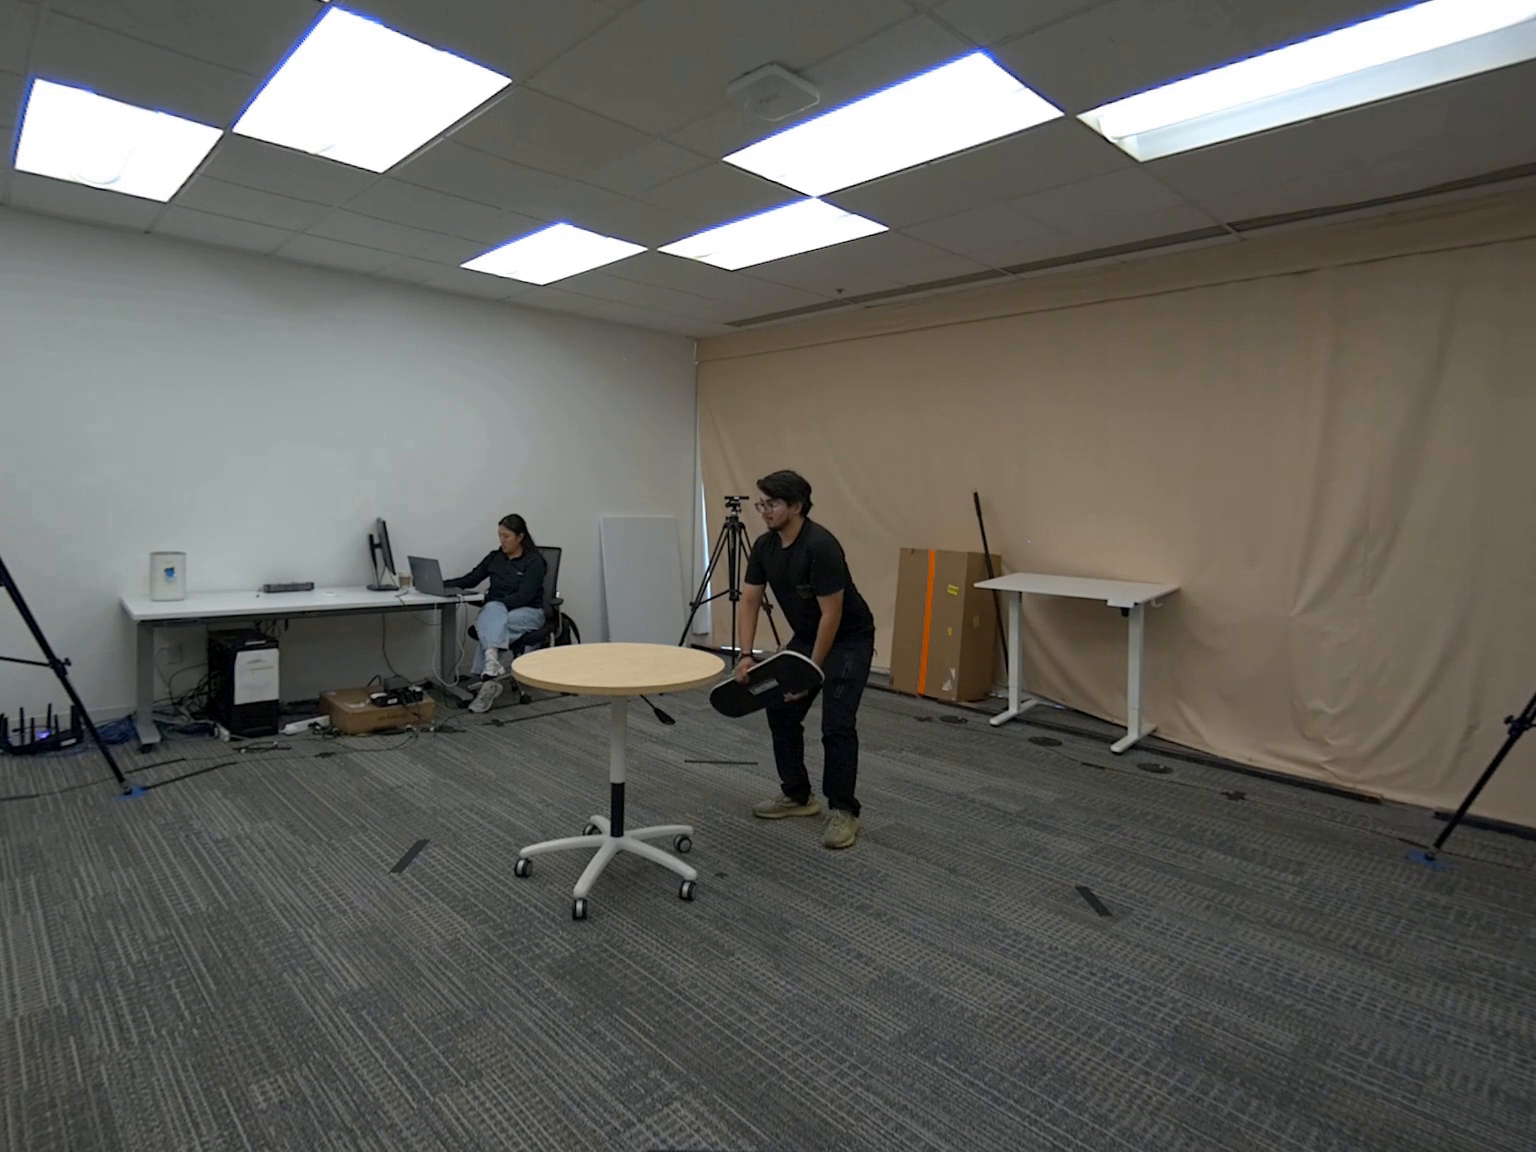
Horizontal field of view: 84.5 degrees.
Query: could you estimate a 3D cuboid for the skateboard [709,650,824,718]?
[{"bbox_3d":[-0.017,0.436,3.479,0.790,0.192,0.111,-34,16,53],"label":"skateboard"}]
